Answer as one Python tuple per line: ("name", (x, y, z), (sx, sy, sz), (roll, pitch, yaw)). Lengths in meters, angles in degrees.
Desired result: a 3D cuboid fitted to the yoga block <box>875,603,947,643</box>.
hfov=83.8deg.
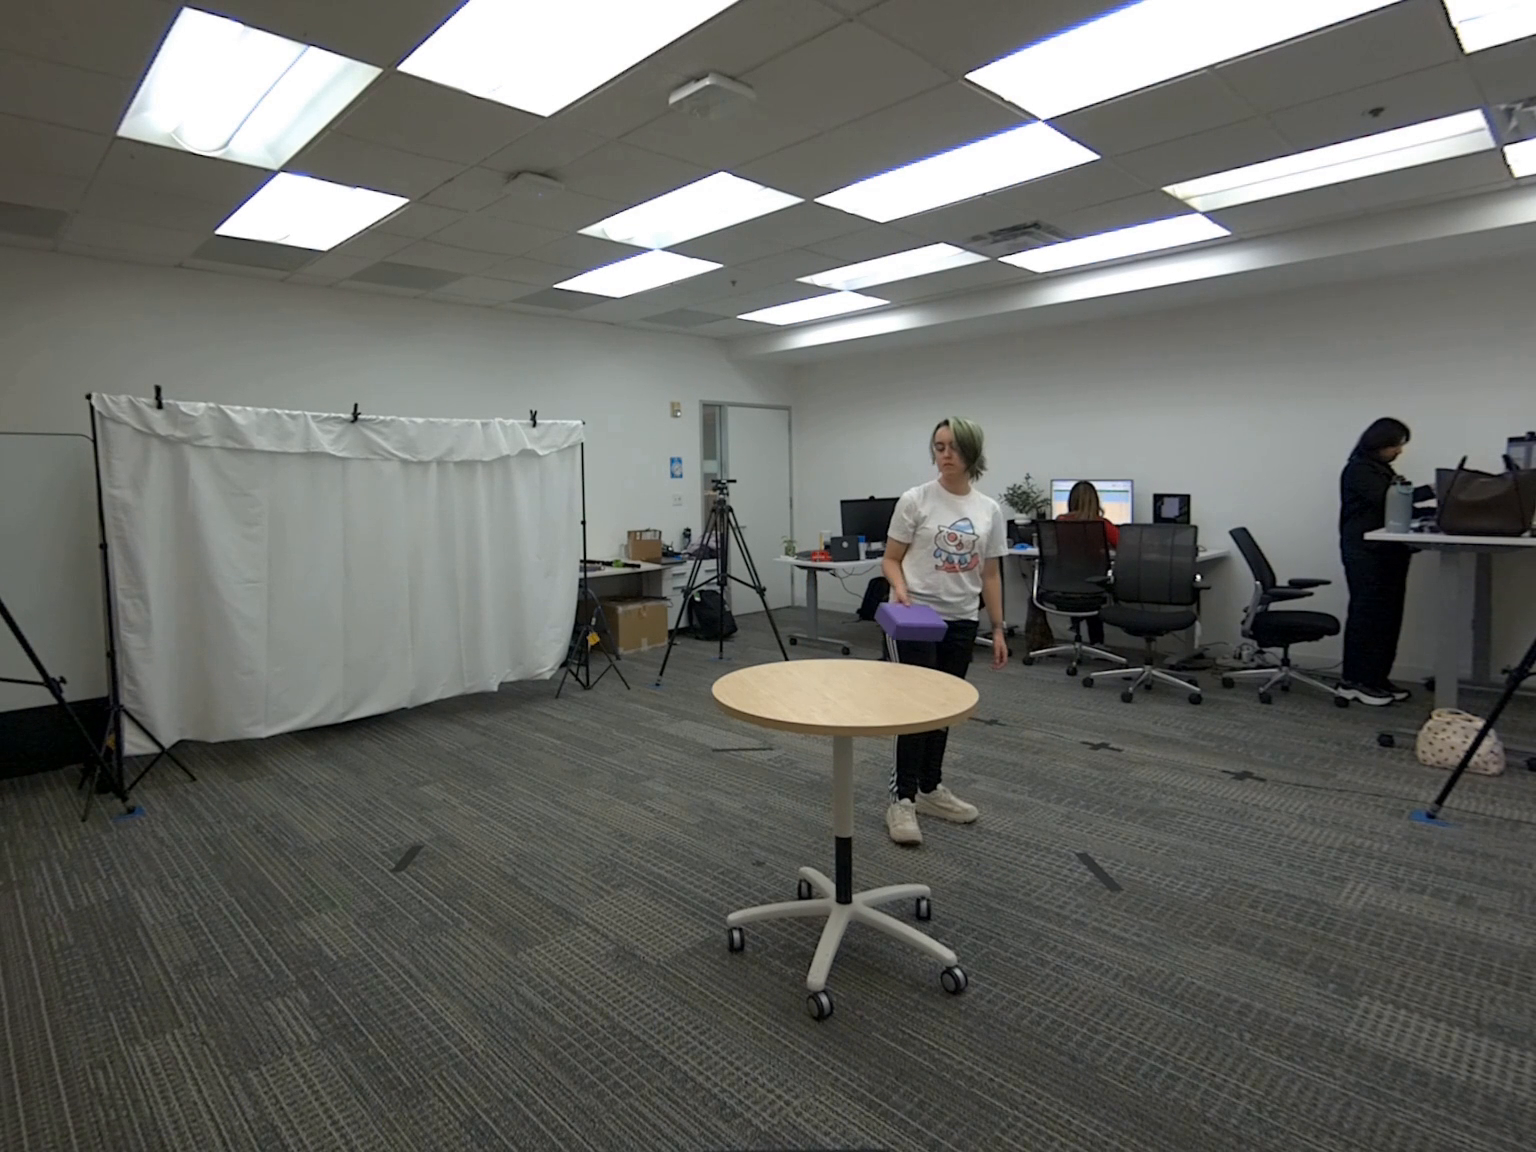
("yoga block", (0.546, 0.172, 3.153), (0.224, 0.075, 0.154), (3, 28, -23))
